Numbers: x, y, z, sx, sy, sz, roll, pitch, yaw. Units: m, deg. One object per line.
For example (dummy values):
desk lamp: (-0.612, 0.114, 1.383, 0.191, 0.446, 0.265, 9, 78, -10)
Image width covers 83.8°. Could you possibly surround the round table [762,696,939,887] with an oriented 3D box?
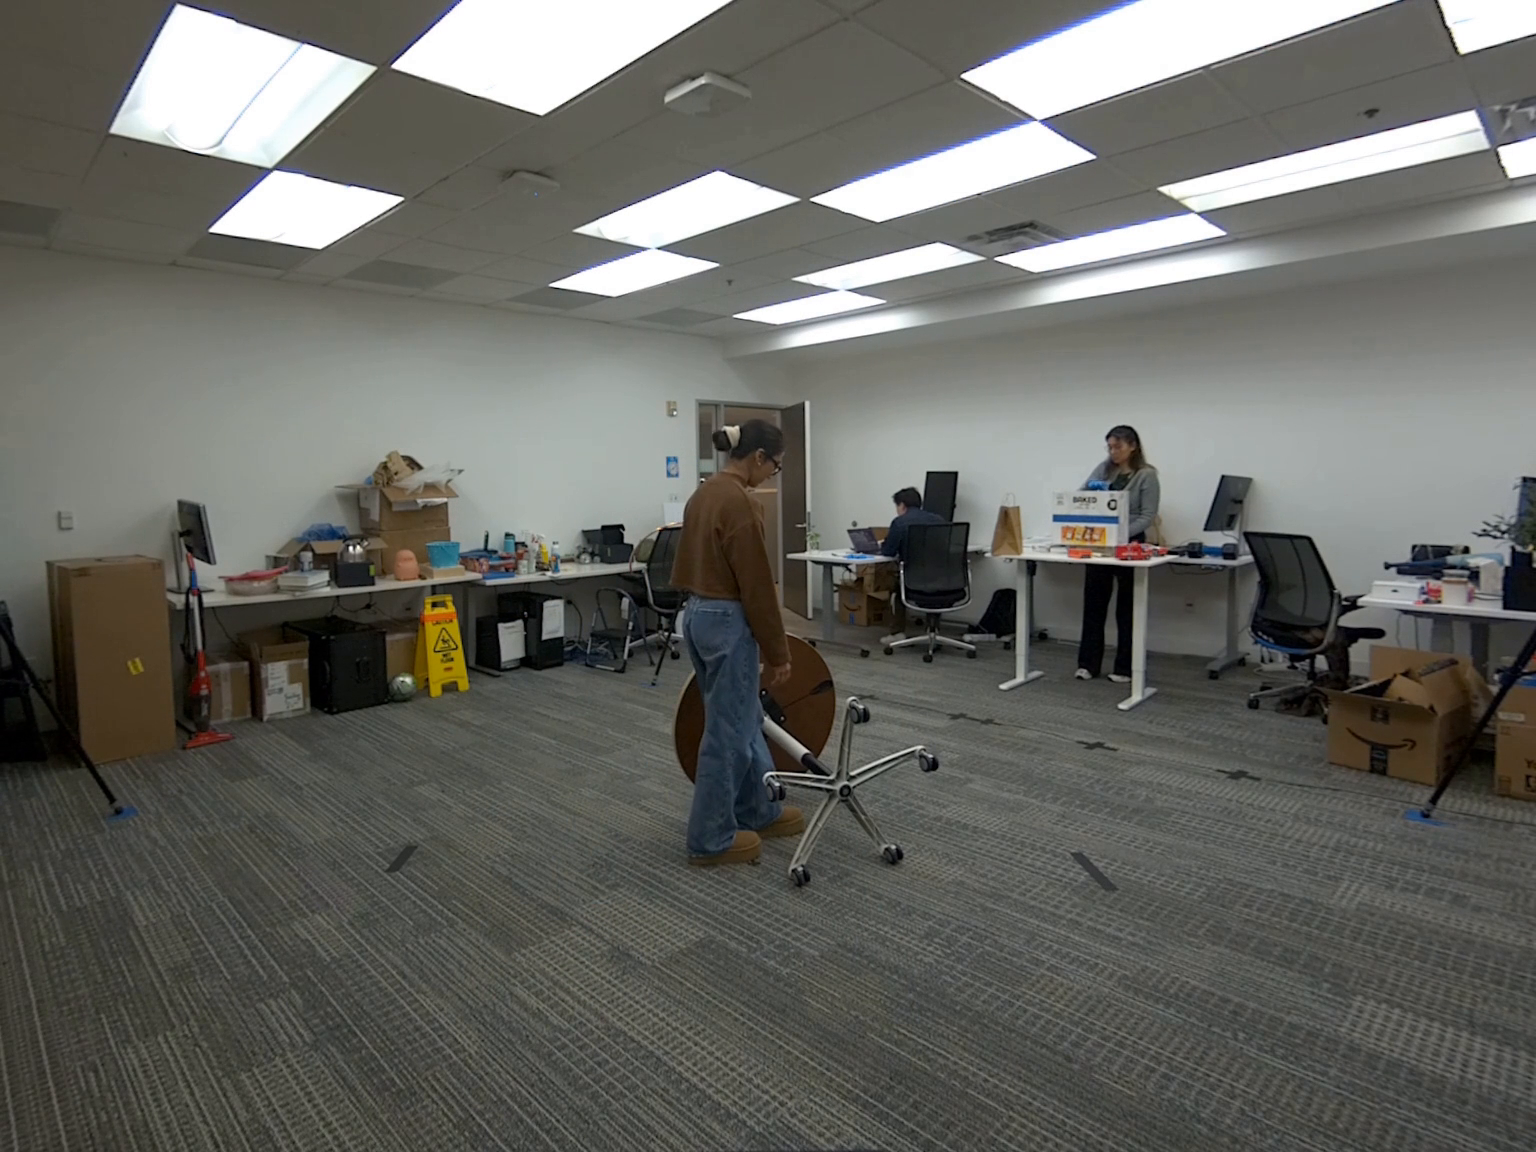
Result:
round table: (0.131, 0.685, 3.299, 0.748, 0.757, 0.819, -3, 13, -26)
